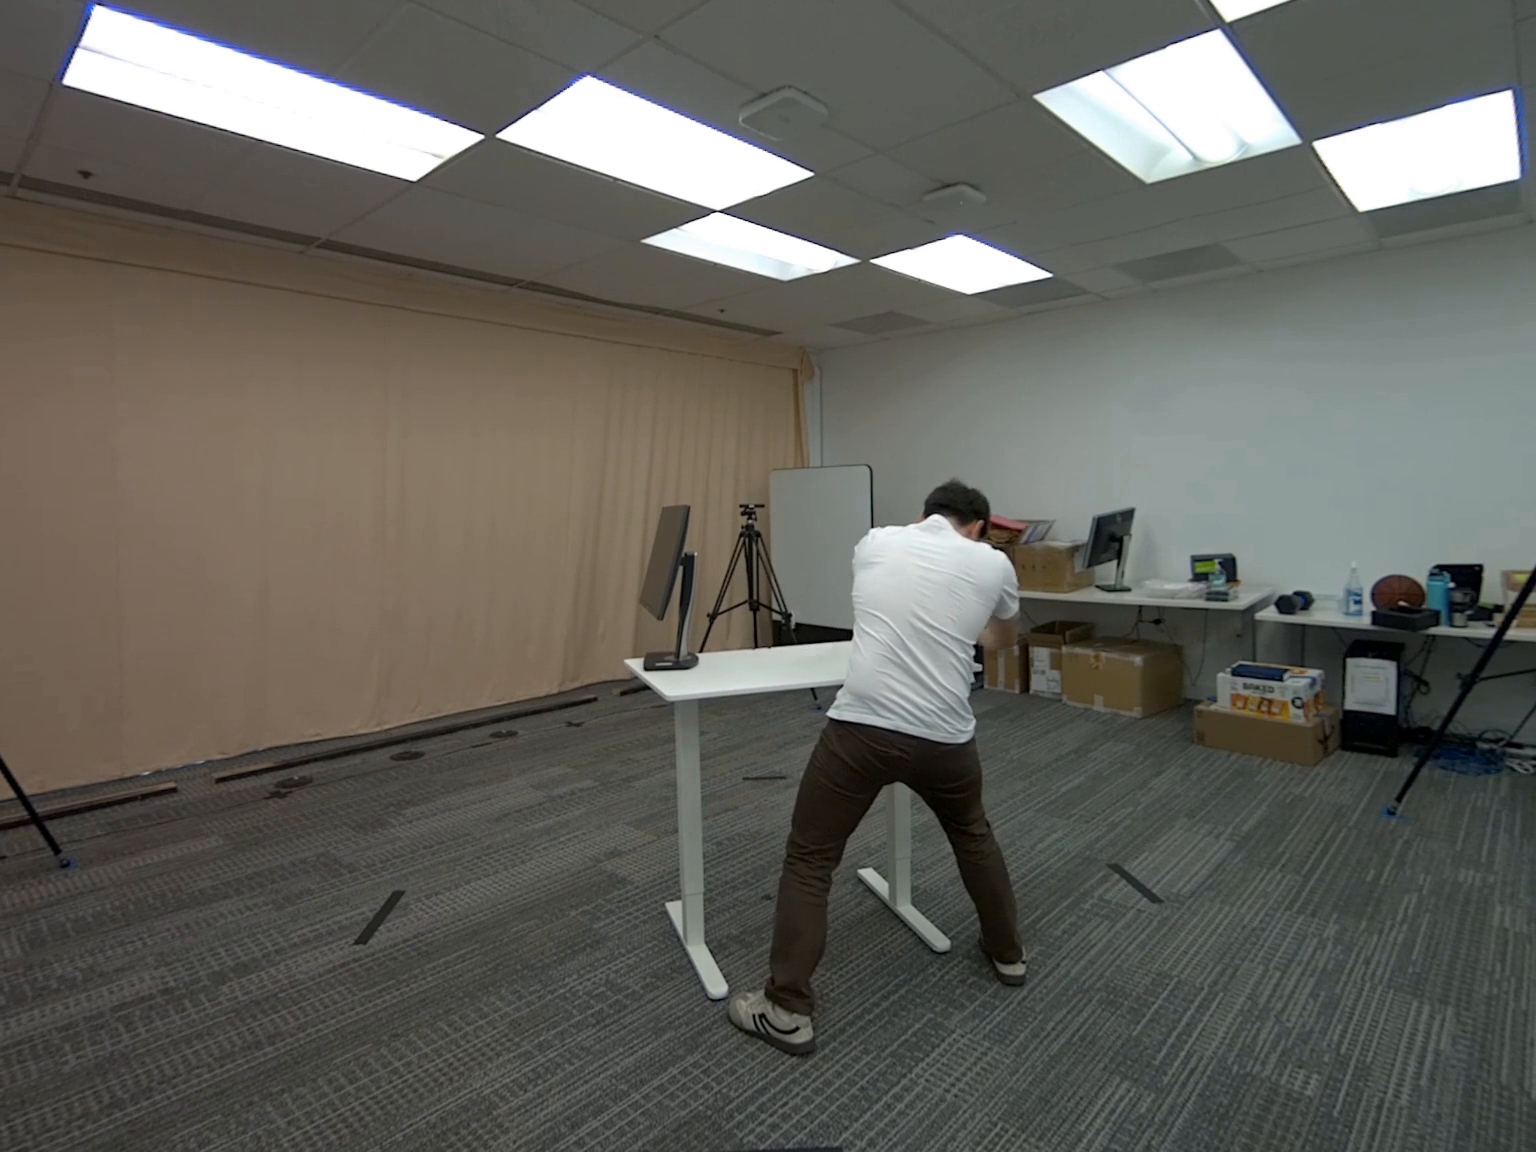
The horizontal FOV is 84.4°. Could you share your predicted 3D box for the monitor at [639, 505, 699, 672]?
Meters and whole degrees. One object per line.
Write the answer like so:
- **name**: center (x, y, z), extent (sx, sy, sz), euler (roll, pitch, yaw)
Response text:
- **monitor**: center (-0.311, 0.034, 2.758), extent (0.184, 0.521, 0.549), euler (-1, 4, -18)
